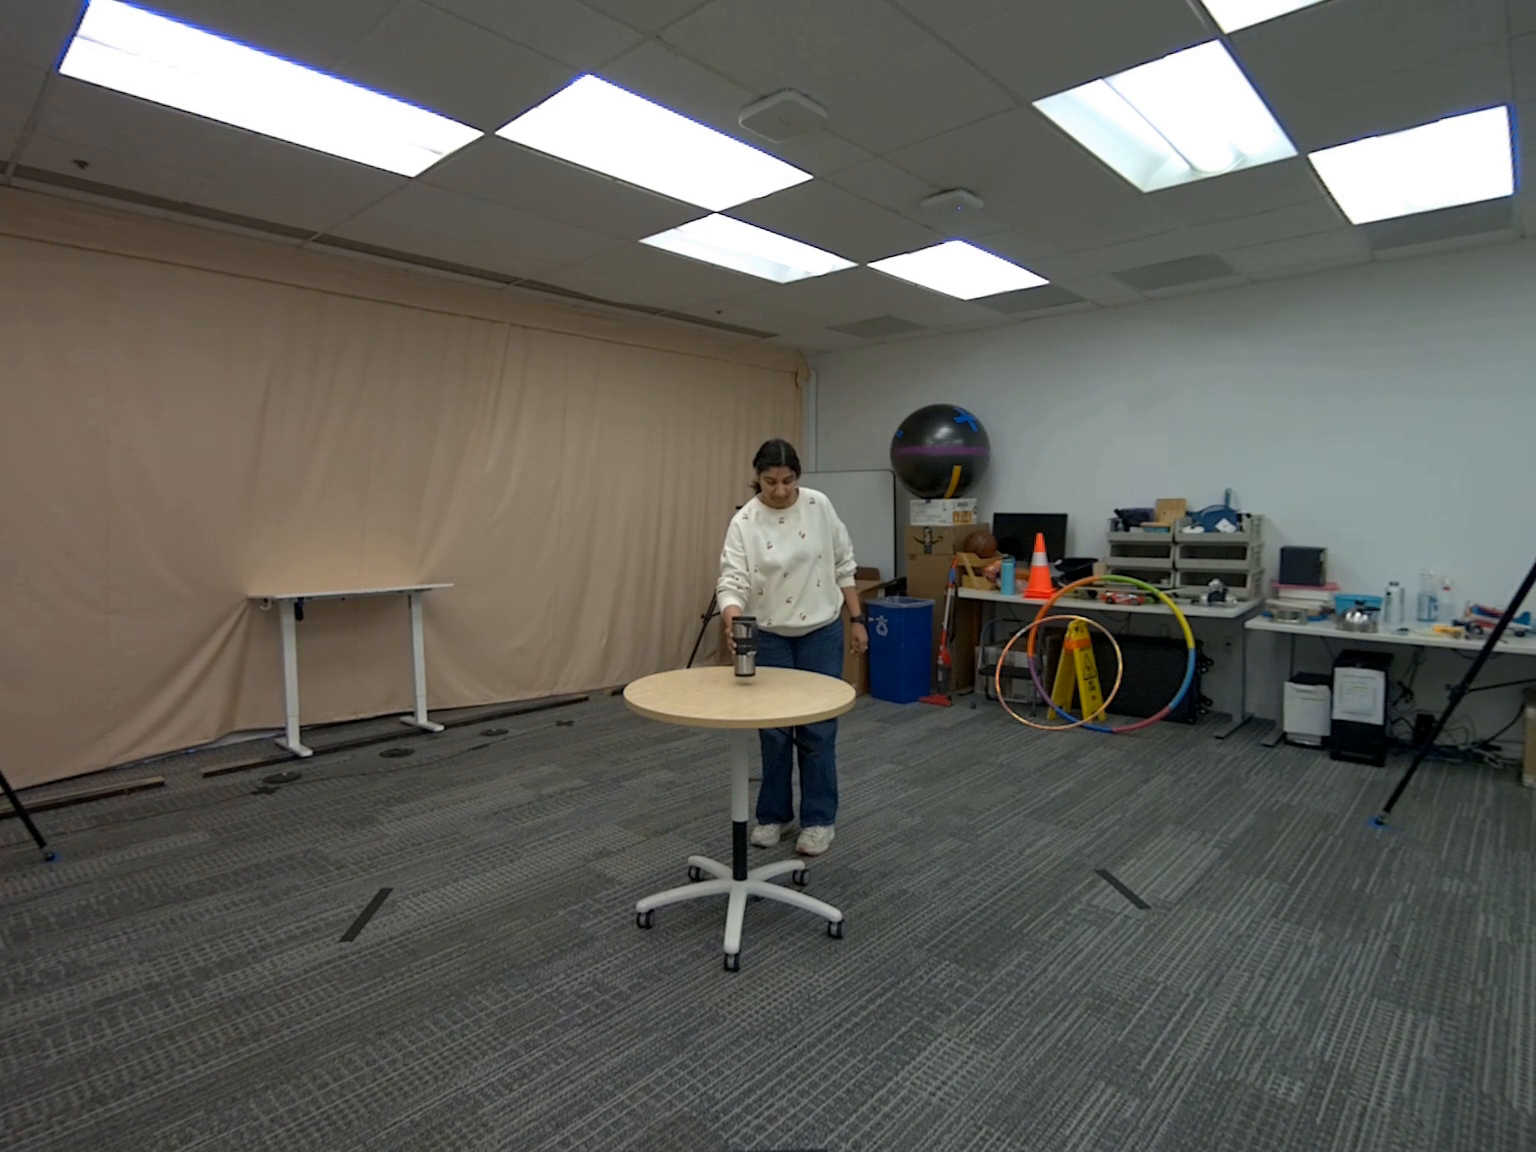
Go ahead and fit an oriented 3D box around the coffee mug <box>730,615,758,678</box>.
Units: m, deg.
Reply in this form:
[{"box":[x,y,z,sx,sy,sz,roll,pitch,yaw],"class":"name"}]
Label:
[{"box":[-0.078,0.241,2.891,0.087,0.203,0.123,-3,1,-7],"class":"coffee mug"}]
